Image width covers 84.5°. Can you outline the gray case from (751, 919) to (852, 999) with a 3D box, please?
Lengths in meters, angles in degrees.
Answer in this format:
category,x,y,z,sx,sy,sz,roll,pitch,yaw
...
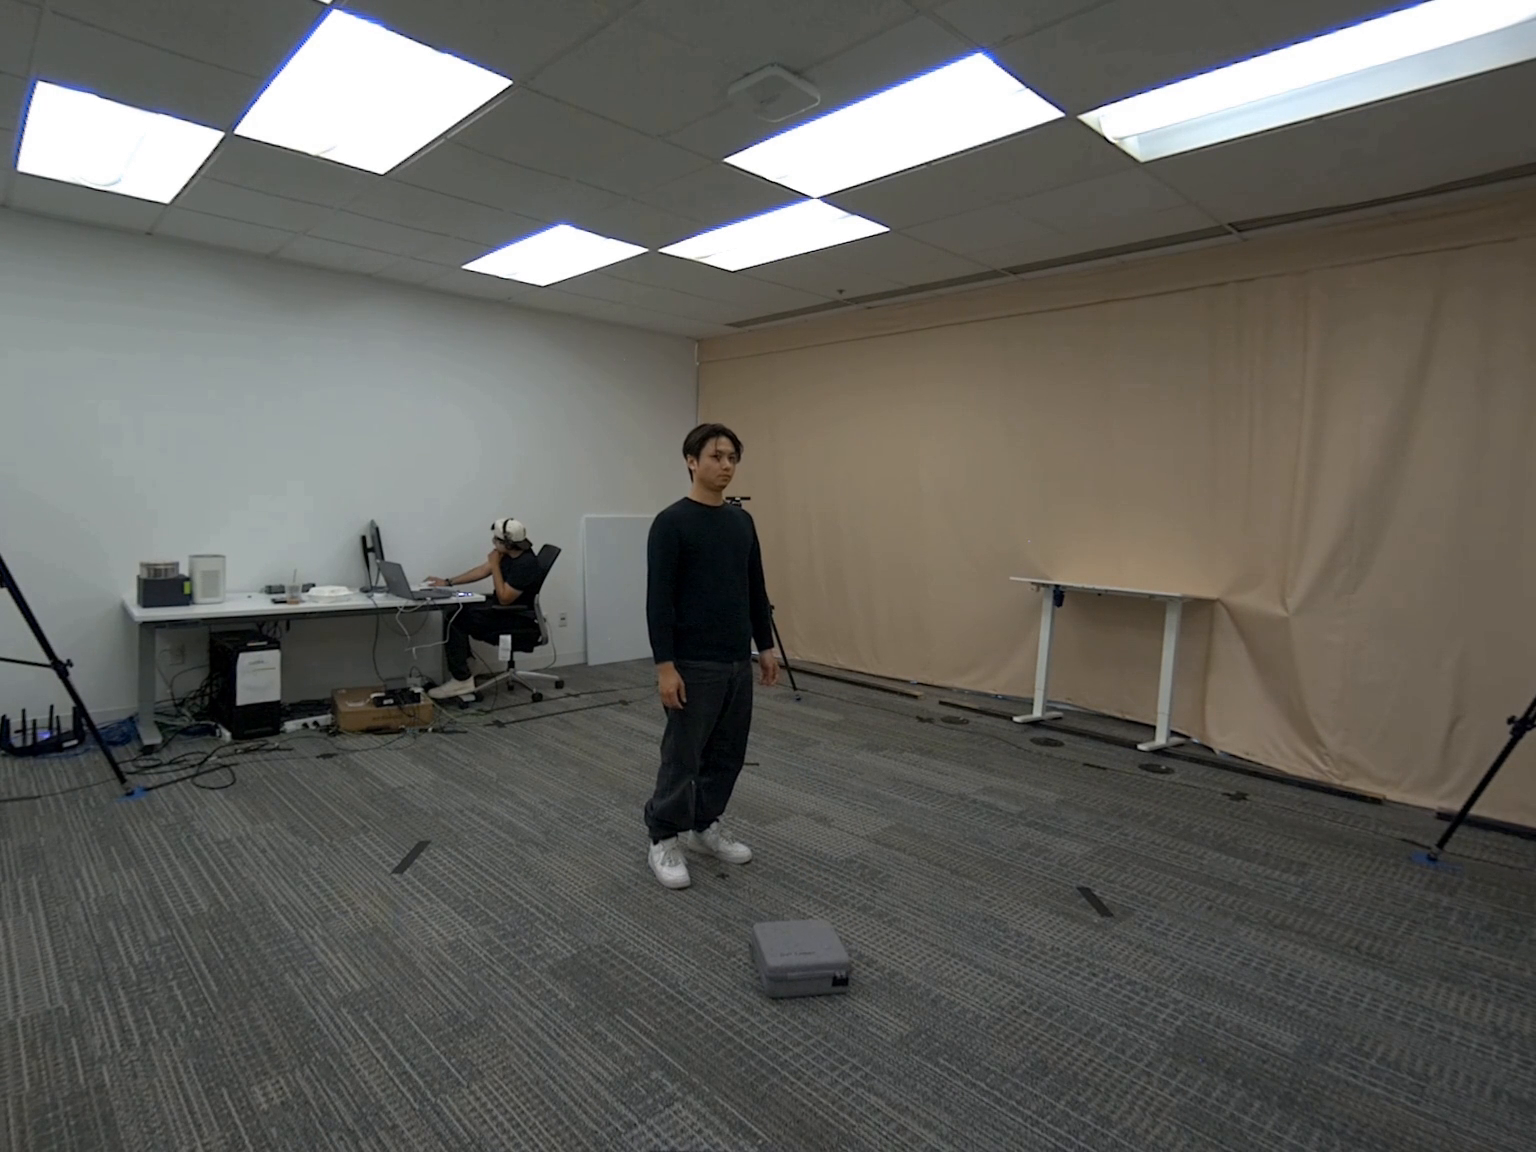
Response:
category,x,y,z,sx,sy,sz,roll,pitch,yaw
gray case,0.085,1.115,2.472,0.255,0.104,0.263,0,4,-11
